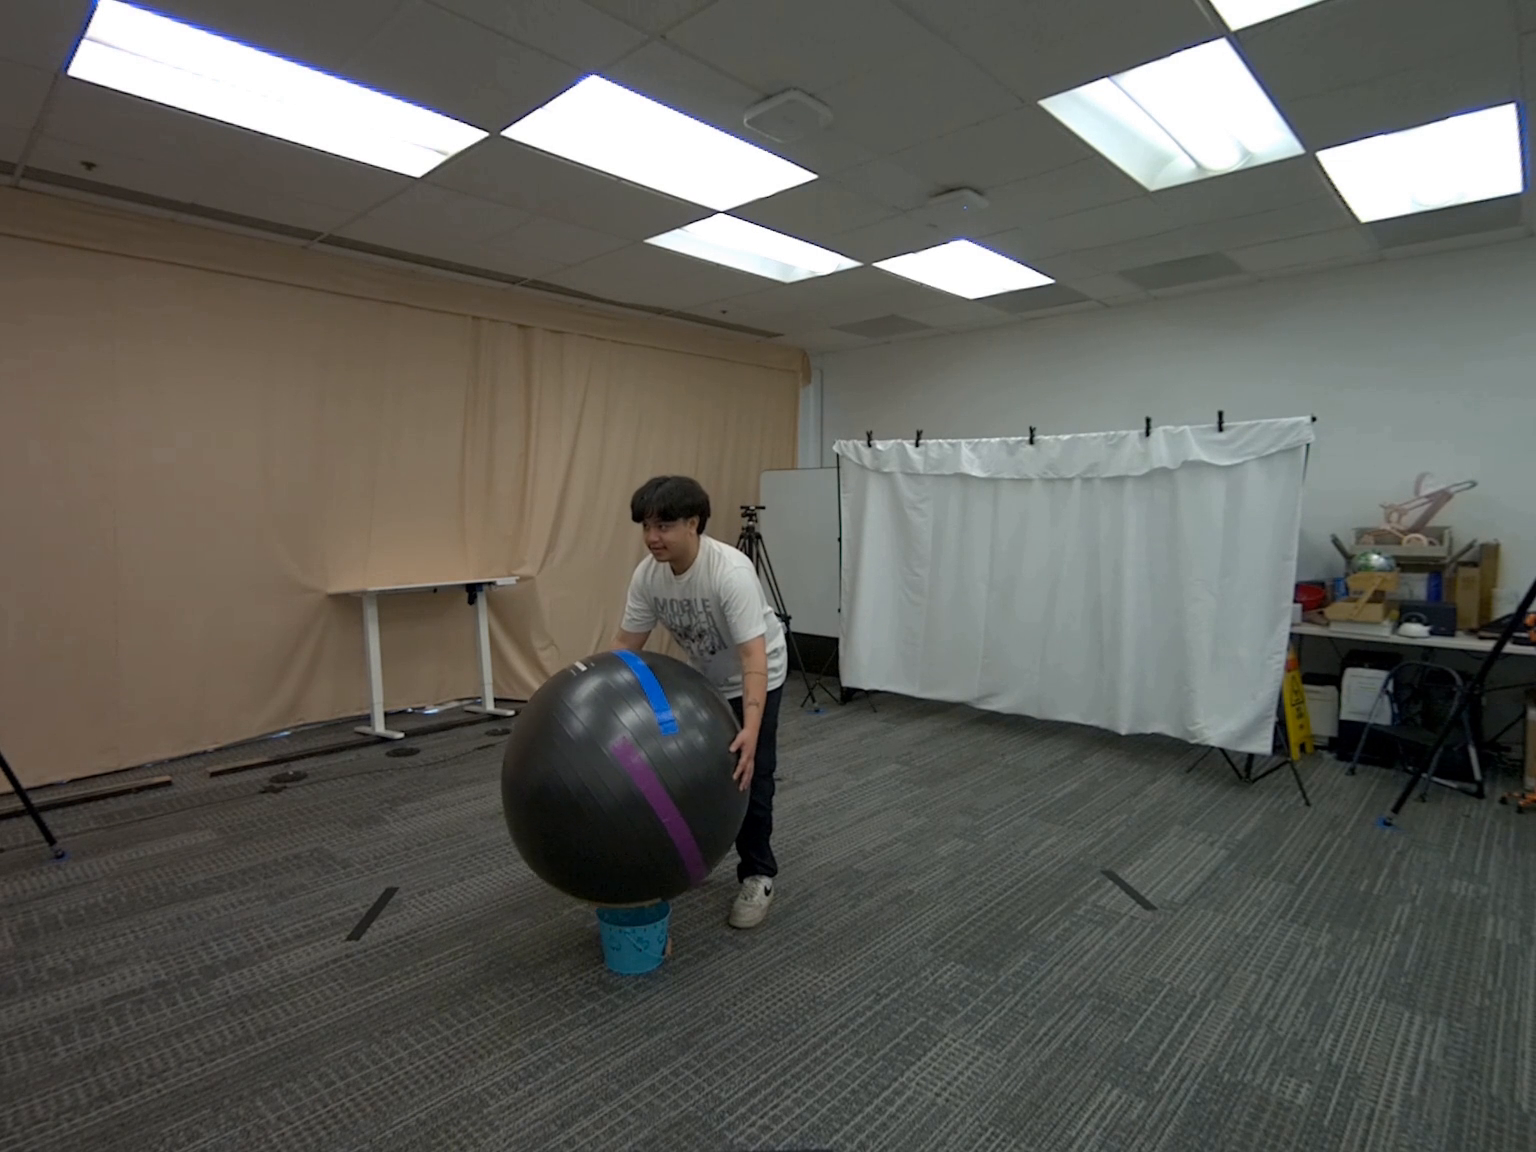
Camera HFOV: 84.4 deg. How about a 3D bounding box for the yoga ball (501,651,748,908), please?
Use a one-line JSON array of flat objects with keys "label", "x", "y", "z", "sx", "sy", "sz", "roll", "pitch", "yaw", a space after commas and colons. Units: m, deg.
[{"label": "yoga ball", "x": -0.434, "y": 0.612, "z": 2.579, "sx": 0.757, "sy": 0.756, "sz": 0.760, "roll": 0, "pitch": 4, "yaw": -2}]
